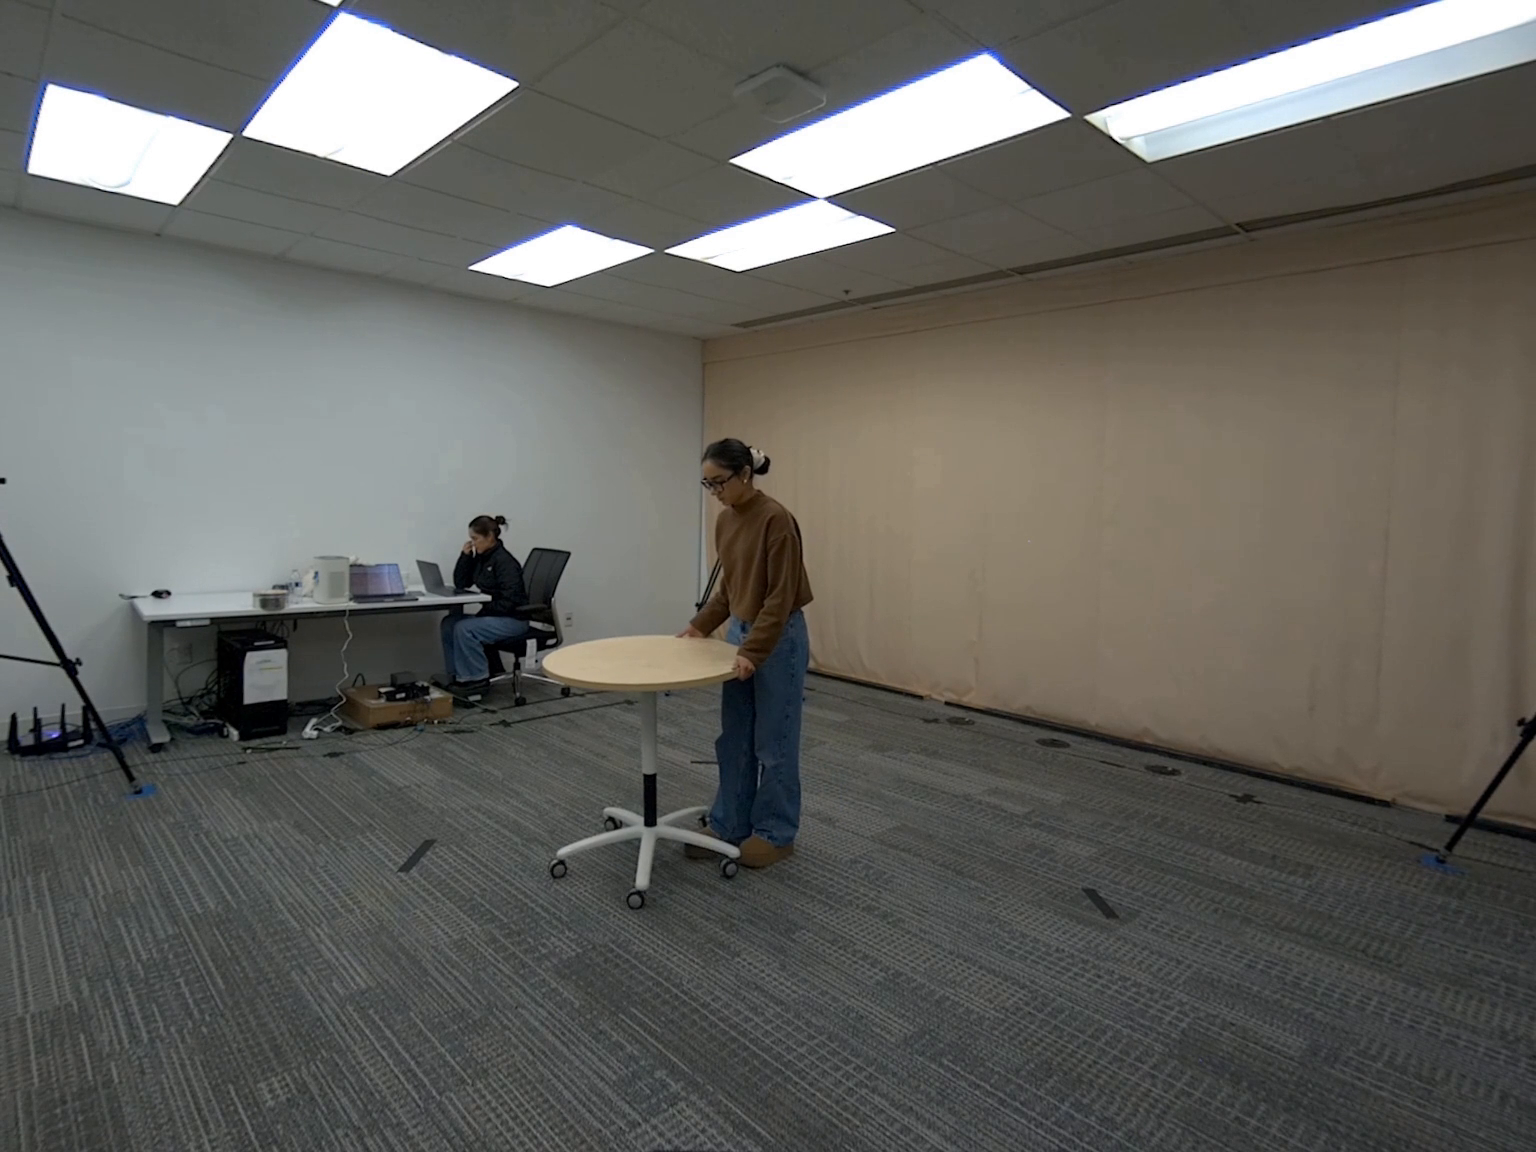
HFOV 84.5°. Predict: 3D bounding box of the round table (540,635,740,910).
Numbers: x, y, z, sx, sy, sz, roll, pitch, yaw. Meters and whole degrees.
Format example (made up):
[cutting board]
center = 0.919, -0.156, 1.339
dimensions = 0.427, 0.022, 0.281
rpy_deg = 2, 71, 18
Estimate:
[round table]
center = -0.454, 0.692, 3.145
dimensions = 0.763, 0.790, 0.768
rpy_deg = 0, 7, -1
